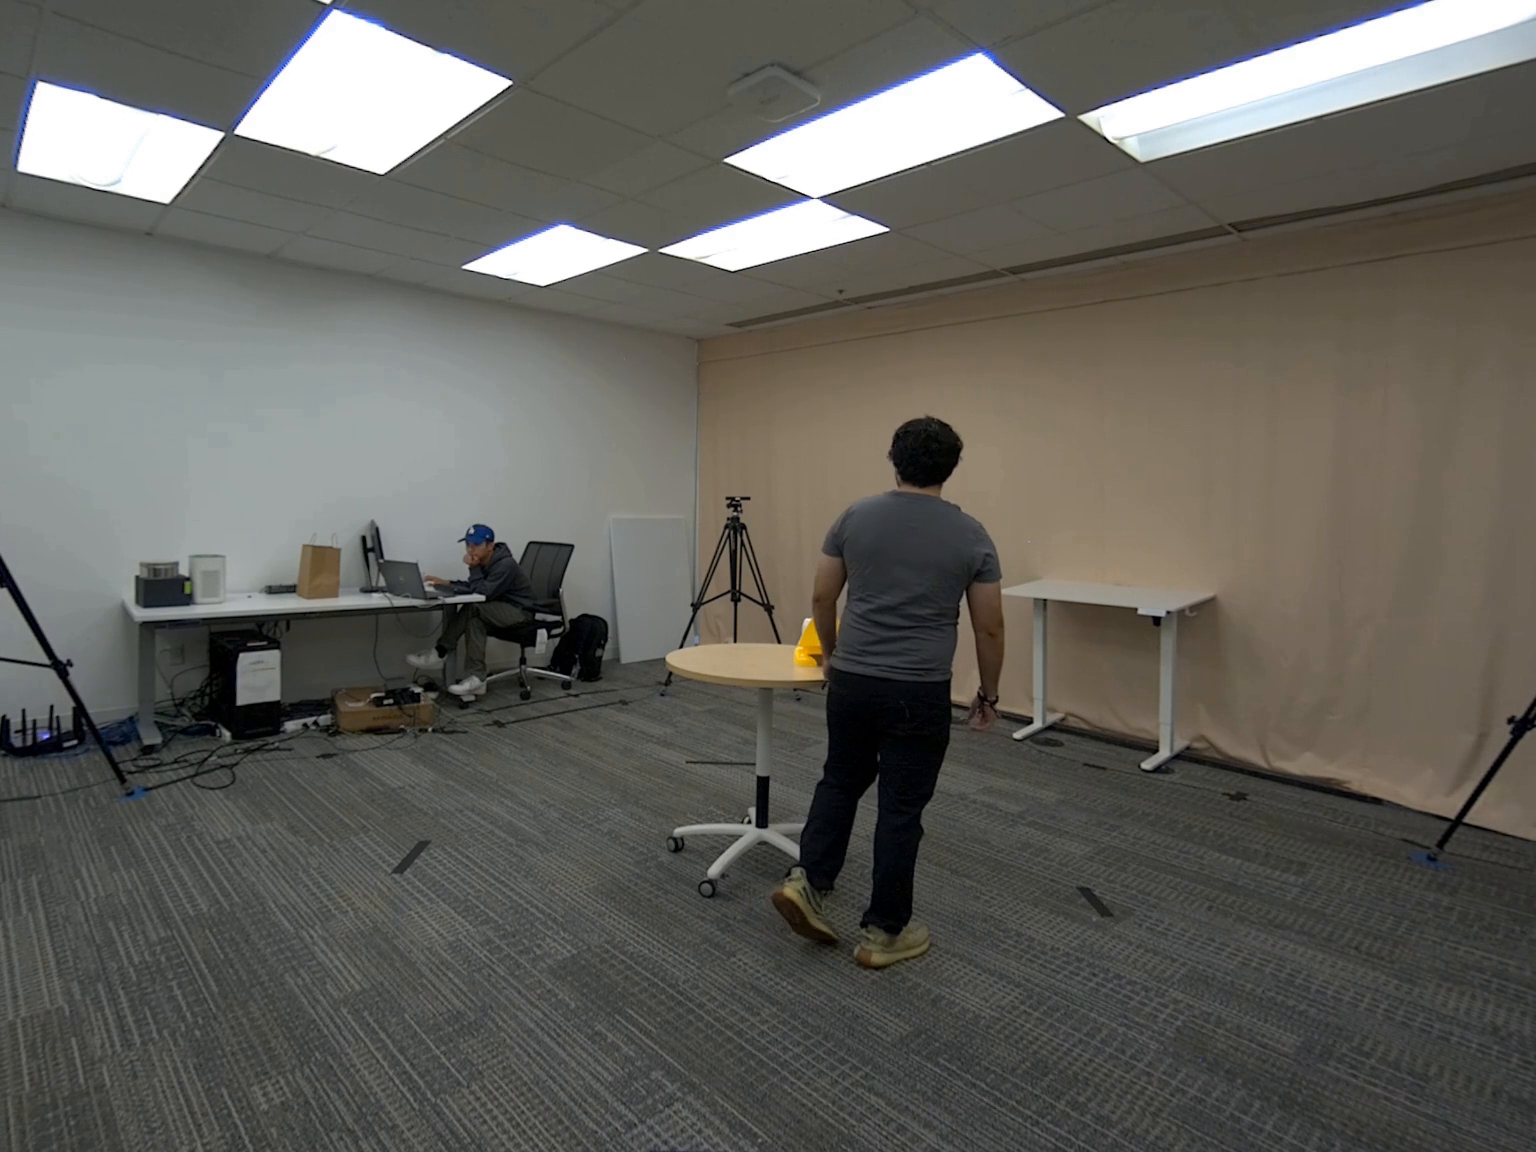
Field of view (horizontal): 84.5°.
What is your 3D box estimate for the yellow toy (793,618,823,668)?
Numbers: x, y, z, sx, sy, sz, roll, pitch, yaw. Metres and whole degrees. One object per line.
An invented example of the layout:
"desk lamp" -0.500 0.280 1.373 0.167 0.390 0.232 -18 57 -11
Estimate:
"yellow toy" 0.190 0.213 3.156 0.204 0.230 0.194 2 4 -5
